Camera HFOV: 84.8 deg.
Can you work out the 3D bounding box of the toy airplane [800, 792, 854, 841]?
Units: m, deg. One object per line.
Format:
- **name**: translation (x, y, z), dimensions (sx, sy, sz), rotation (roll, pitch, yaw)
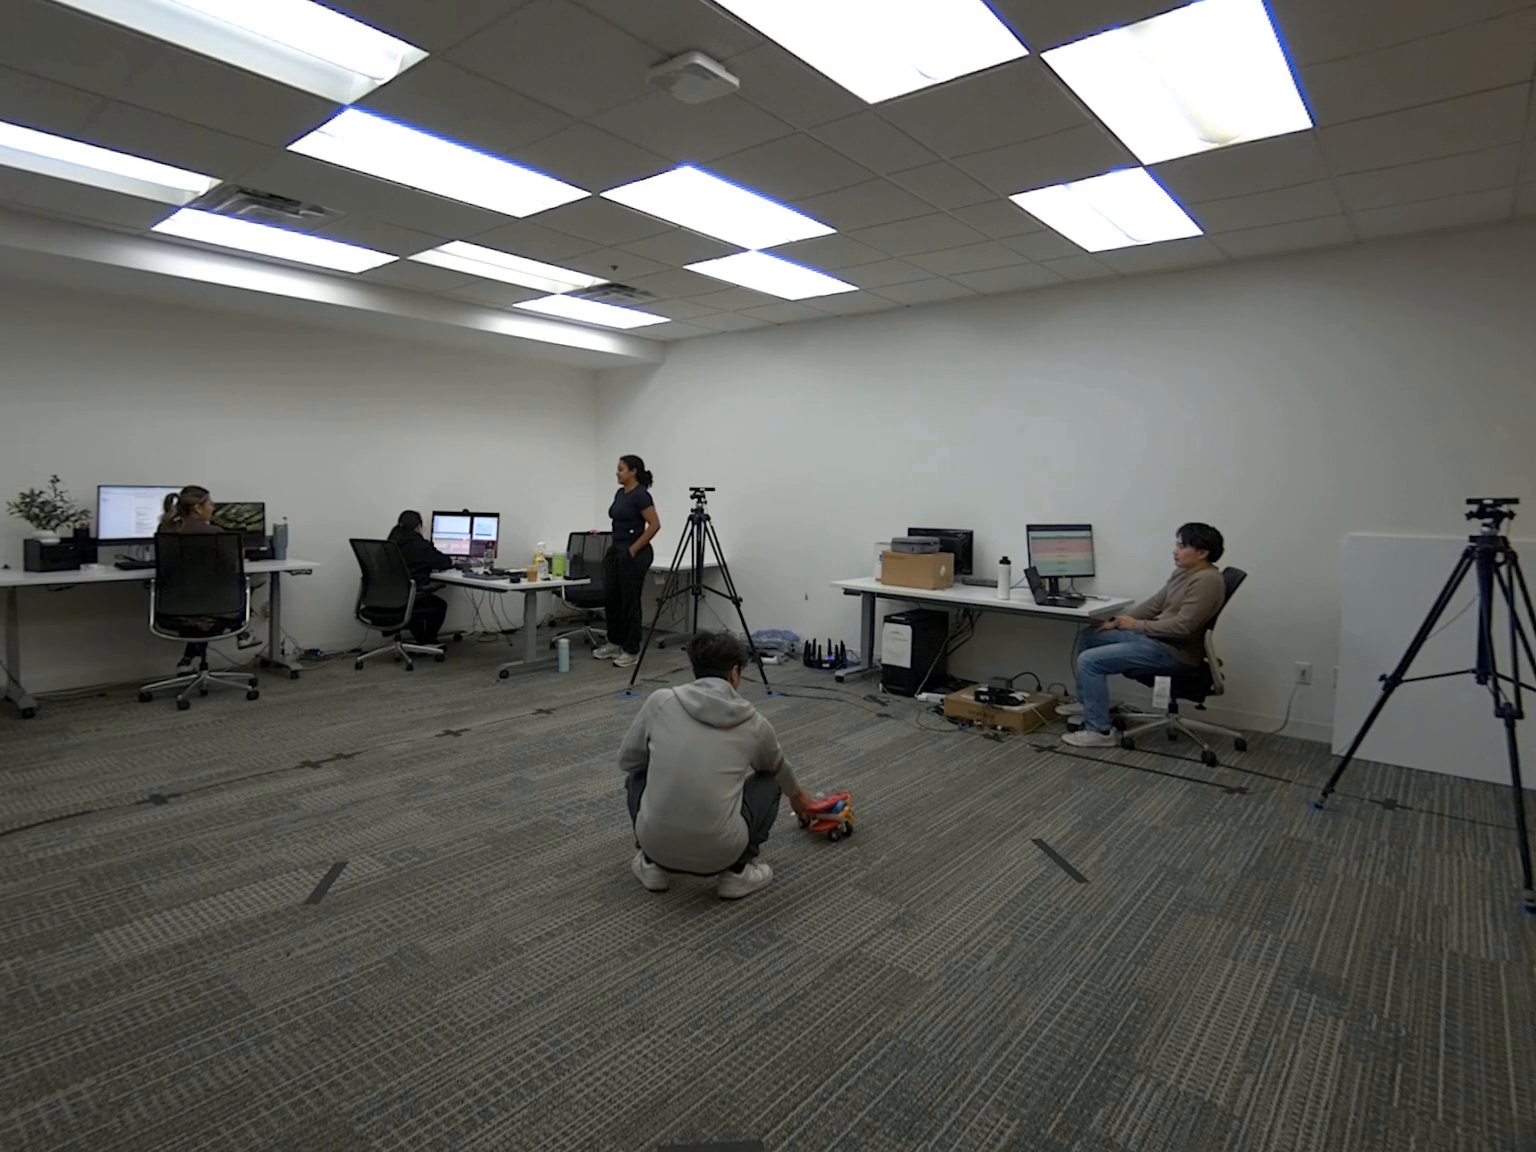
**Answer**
- **toy airplane**: translation (0.205, 0.971, 3.448), dimensions (0.262, 0.156, 0.249), rotation (3, 4, 10)
